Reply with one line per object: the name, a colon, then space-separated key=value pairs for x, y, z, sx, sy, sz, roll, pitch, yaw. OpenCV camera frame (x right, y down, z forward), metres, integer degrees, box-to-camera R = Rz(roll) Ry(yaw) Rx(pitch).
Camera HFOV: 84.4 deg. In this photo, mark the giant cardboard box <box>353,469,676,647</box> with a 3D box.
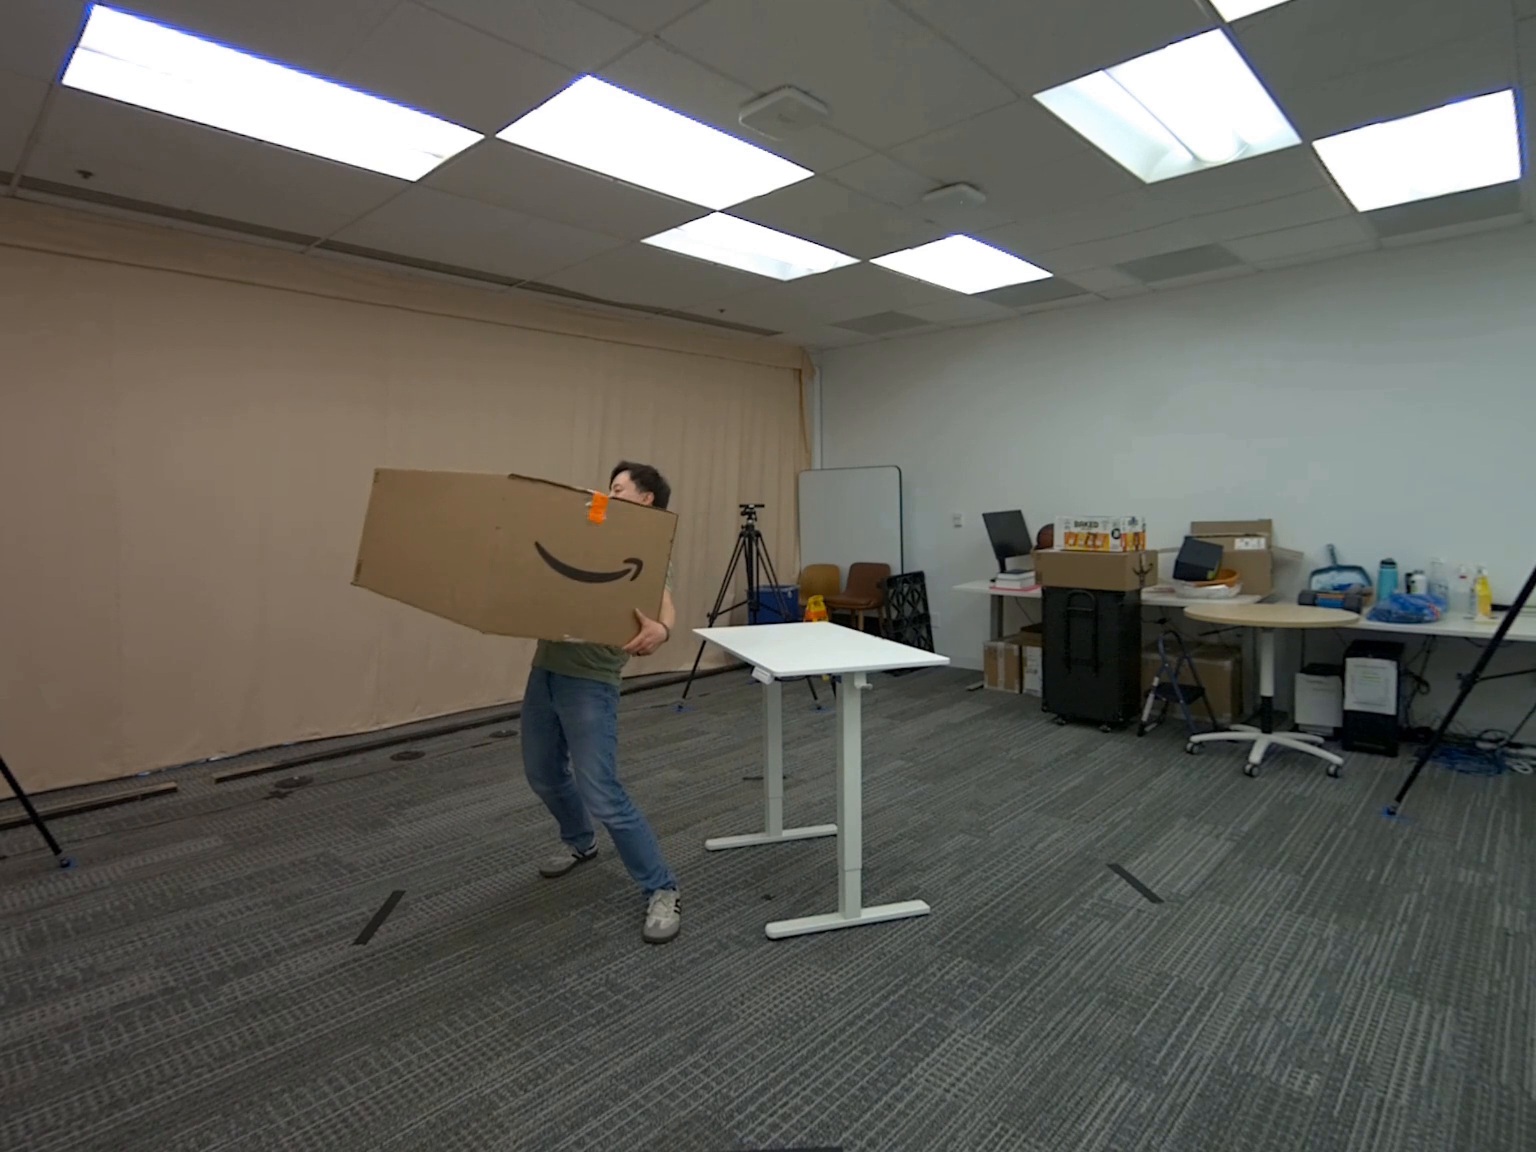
giant cardboard box: x=-0.862 y=-0.080 z=2.748 sx=0.557 sy=0.426 sz=1.061 roll=12 pitch=-3 yaw=-44
